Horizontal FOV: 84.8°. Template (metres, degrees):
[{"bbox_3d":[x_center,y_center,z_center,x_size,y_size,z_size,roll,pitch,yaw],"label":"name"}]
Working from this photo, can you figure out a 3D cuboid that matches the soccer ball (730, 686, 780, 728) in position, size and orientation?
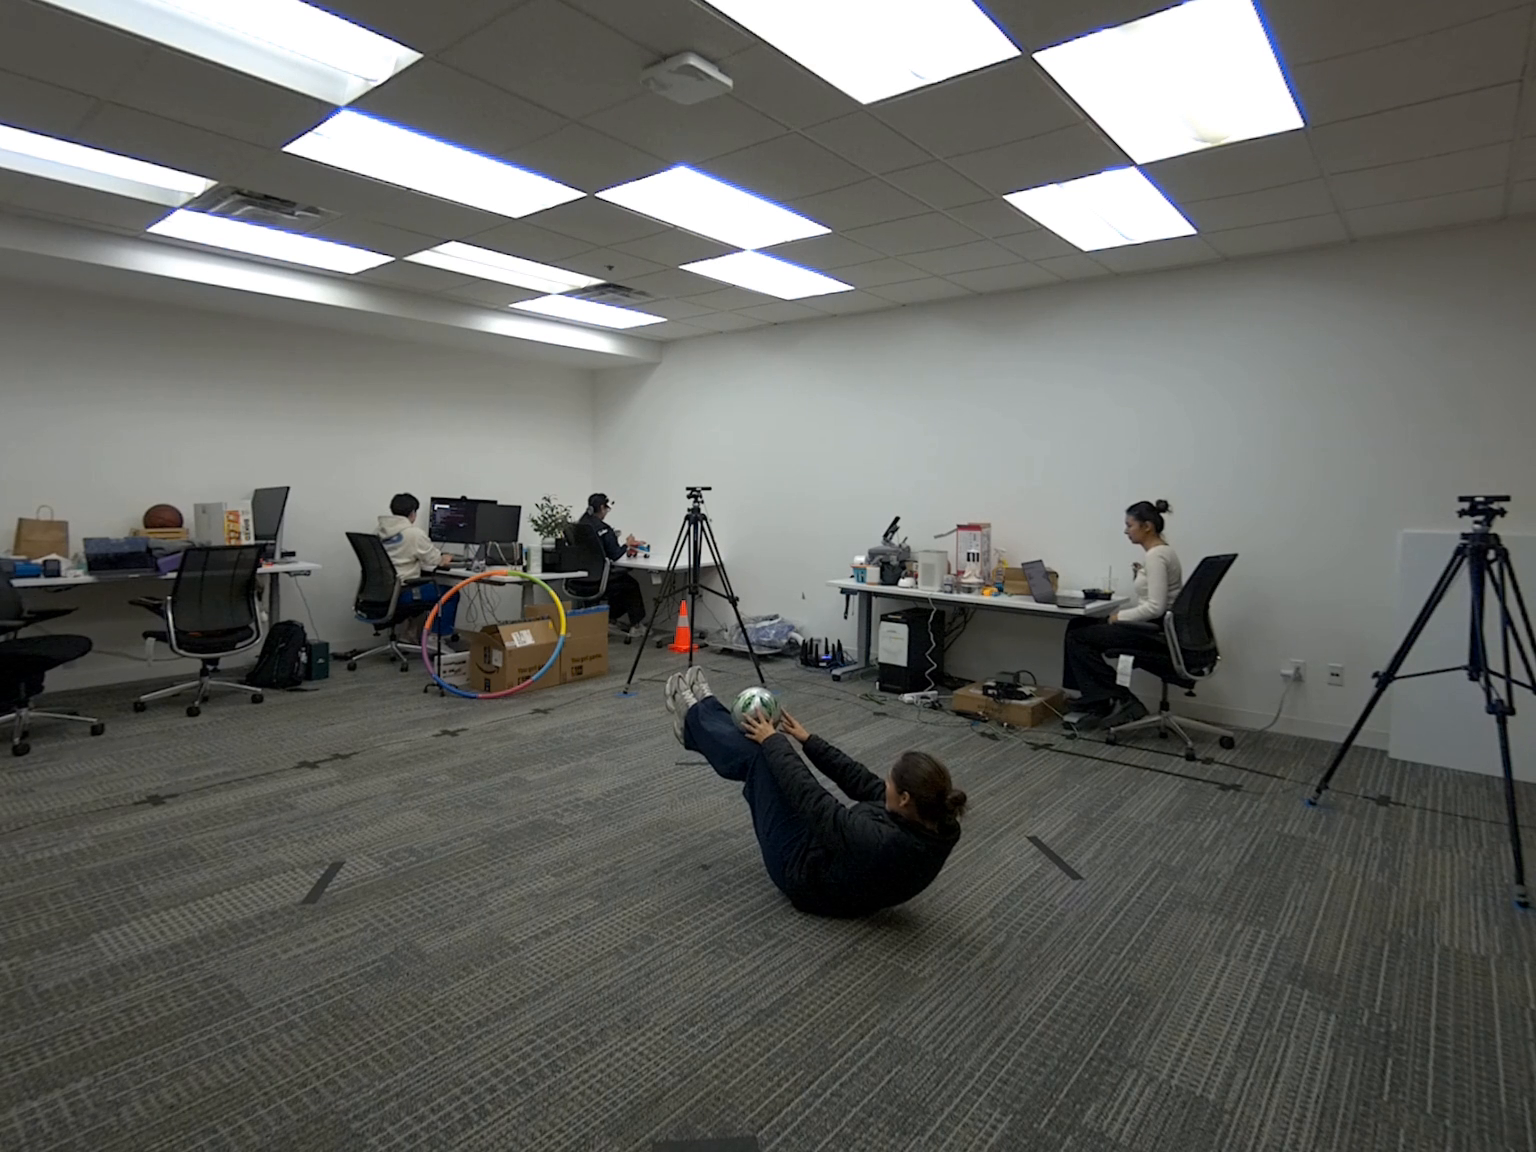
[{"bbox_3d":[-0.058,0.504,3.134,0.187,0.187,0.188,-3,3,-2],"label":"soccer ball"}]
